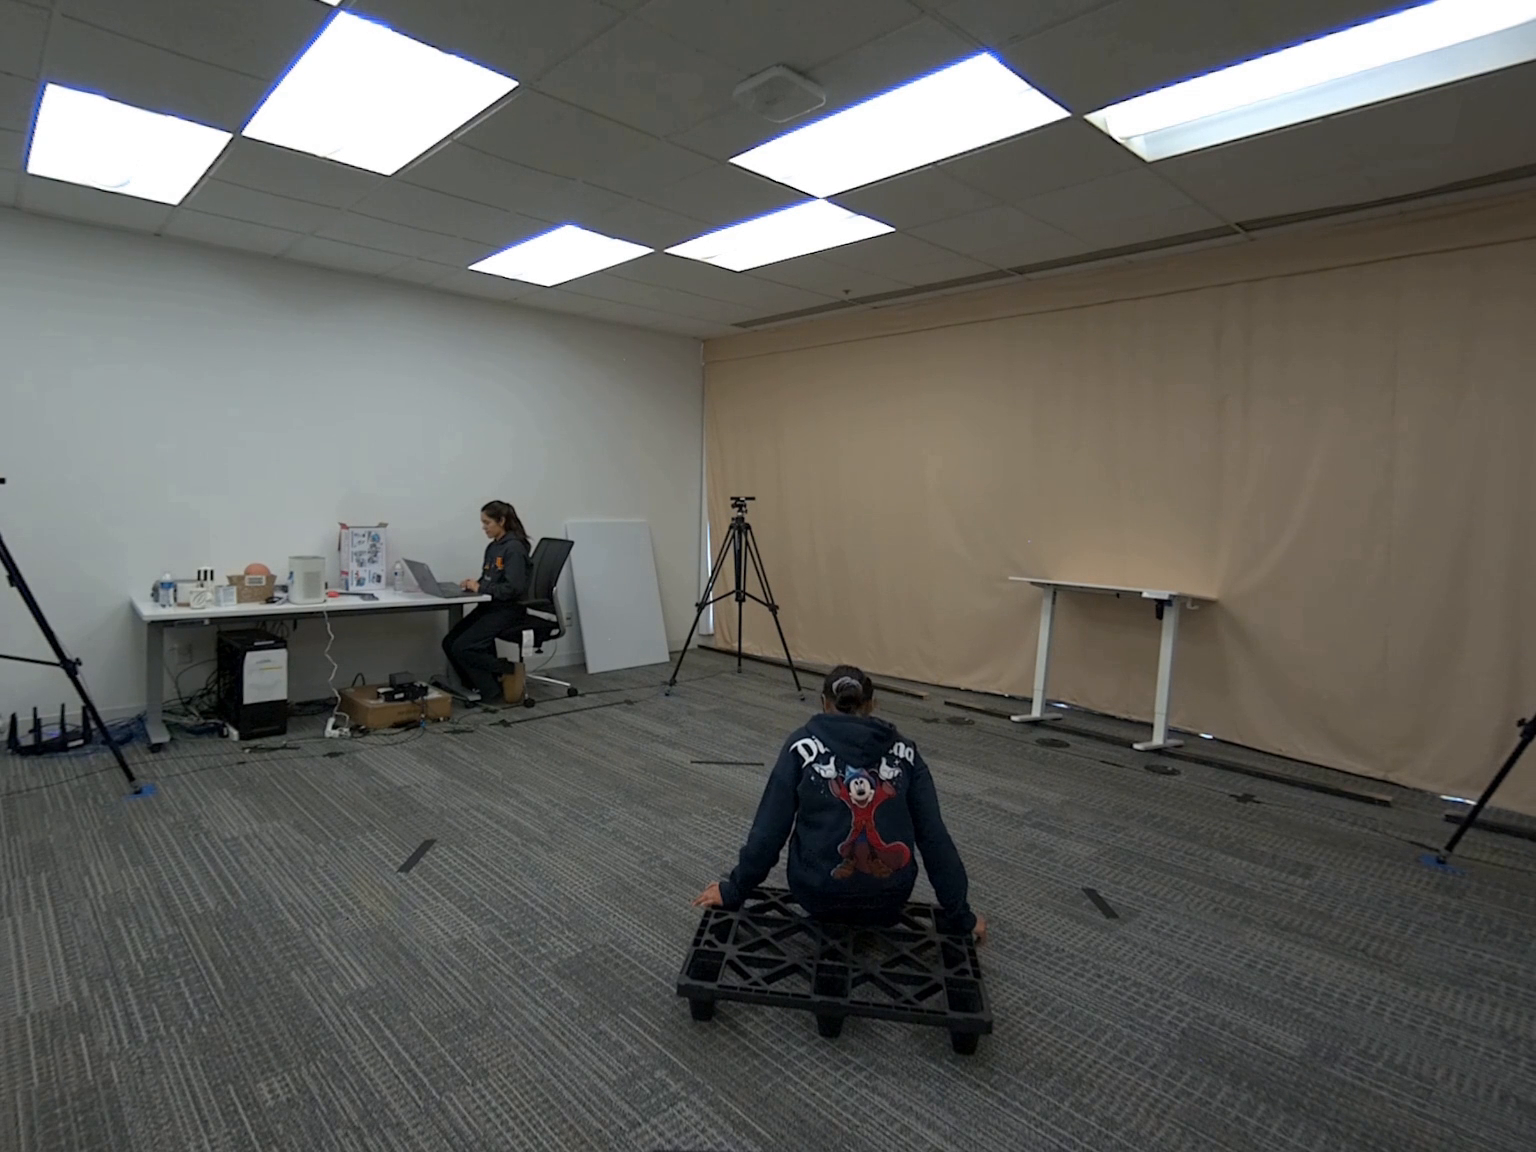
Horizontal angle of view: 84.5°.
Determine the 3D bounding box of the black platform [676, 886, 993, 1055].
[{"bbox_3d":[0.184,1.109,2.403,0.811,0.143,0.604,2,7,7],"label":"black platform"}]
